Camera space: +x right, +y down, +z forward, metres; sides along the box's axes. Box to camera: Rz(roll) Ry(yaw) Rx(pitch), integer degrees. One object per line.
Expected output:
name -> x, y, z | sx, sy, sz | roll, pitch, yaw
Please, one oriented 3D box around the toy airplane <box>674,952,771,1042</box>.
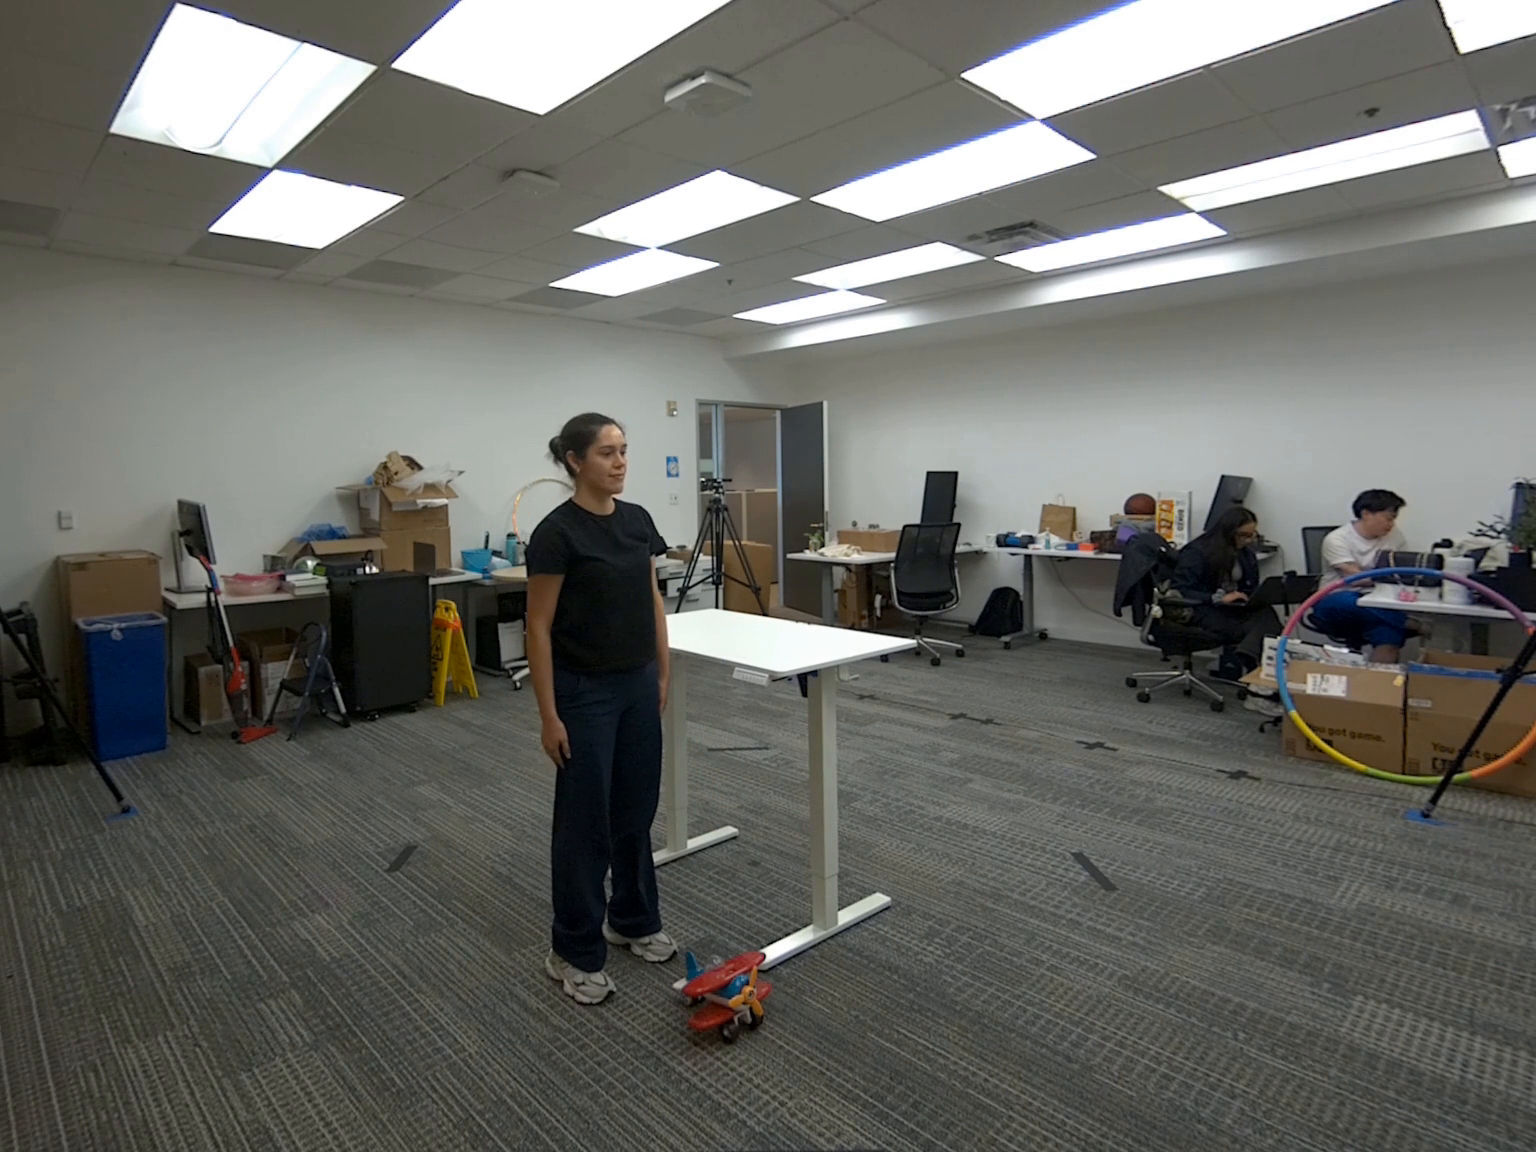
toy airplane -> -0.136, 1.076, 2.210 | 0.264, 0.155, 0.248 | 2, 7, 19
